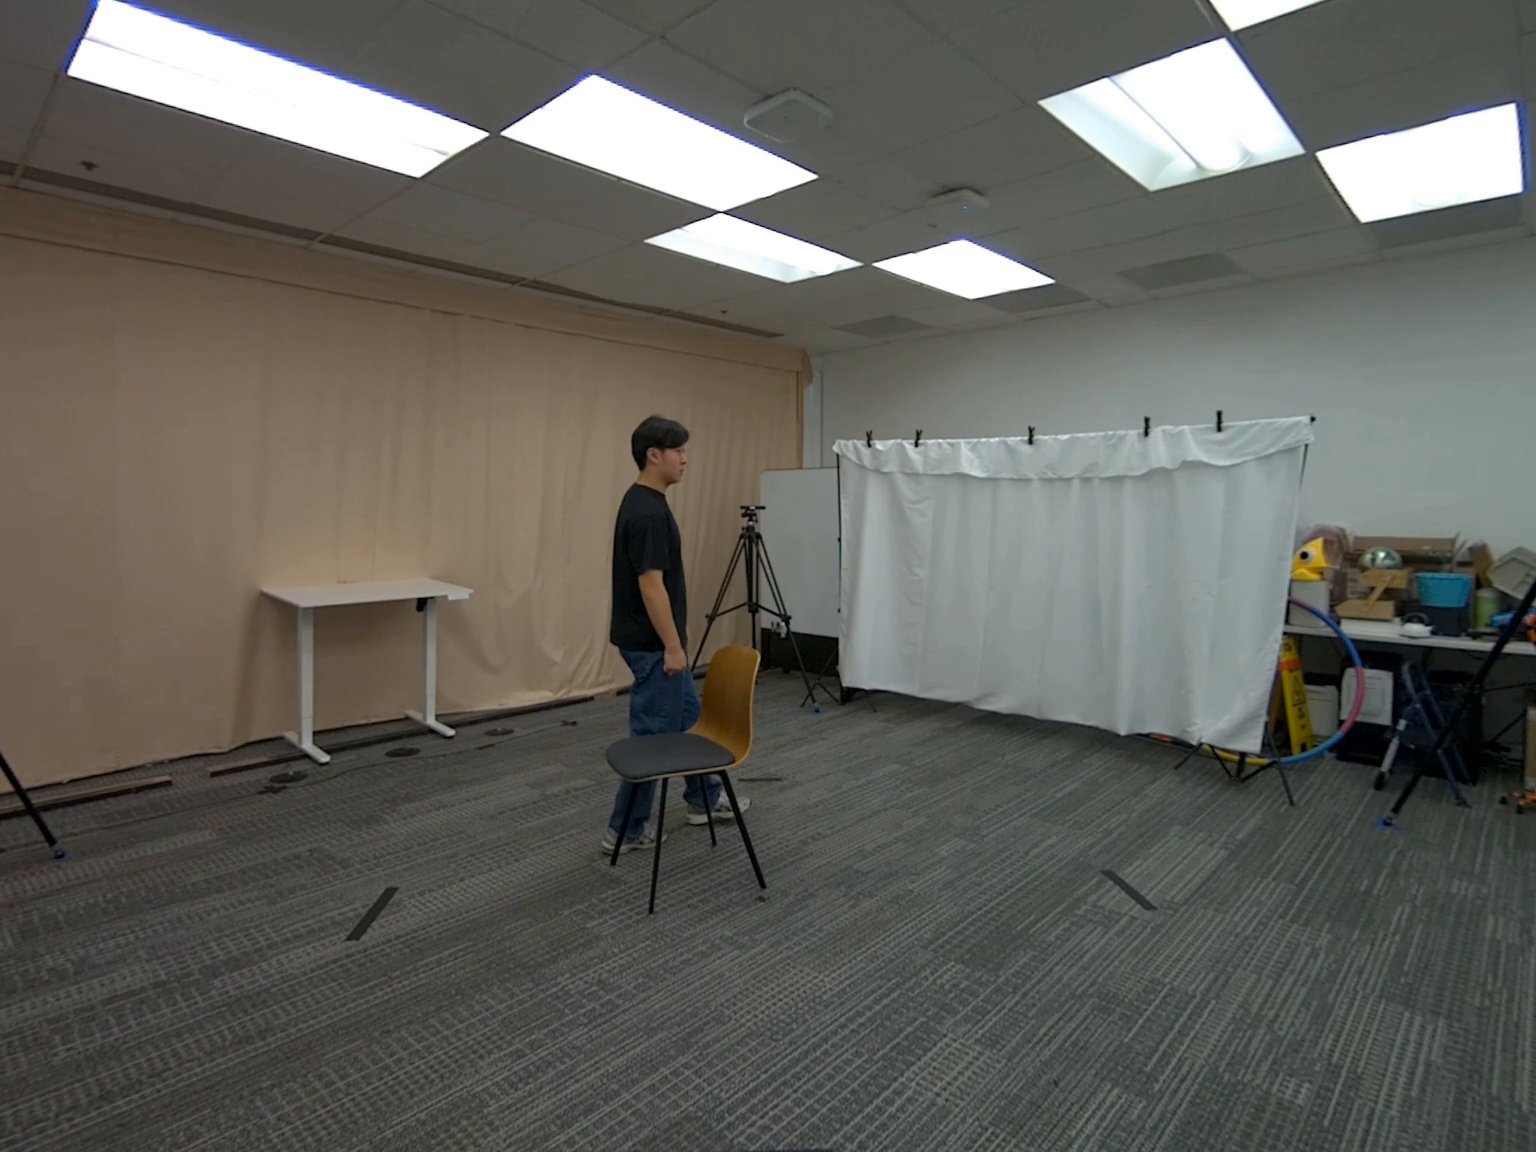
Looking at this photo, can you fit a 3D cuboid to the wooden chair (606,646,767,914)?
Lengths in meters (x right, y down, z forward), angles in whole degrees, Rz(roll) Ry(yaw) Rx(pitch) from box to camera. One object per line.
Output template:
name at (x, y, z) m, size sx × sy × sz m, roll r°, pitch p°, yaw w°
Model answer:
wooden chair at (-0.313, 0.707, 3.133) m, size 0.510 × 0.877 × 0.491 m, roll 3°, pitch 1°, yaw -27°
